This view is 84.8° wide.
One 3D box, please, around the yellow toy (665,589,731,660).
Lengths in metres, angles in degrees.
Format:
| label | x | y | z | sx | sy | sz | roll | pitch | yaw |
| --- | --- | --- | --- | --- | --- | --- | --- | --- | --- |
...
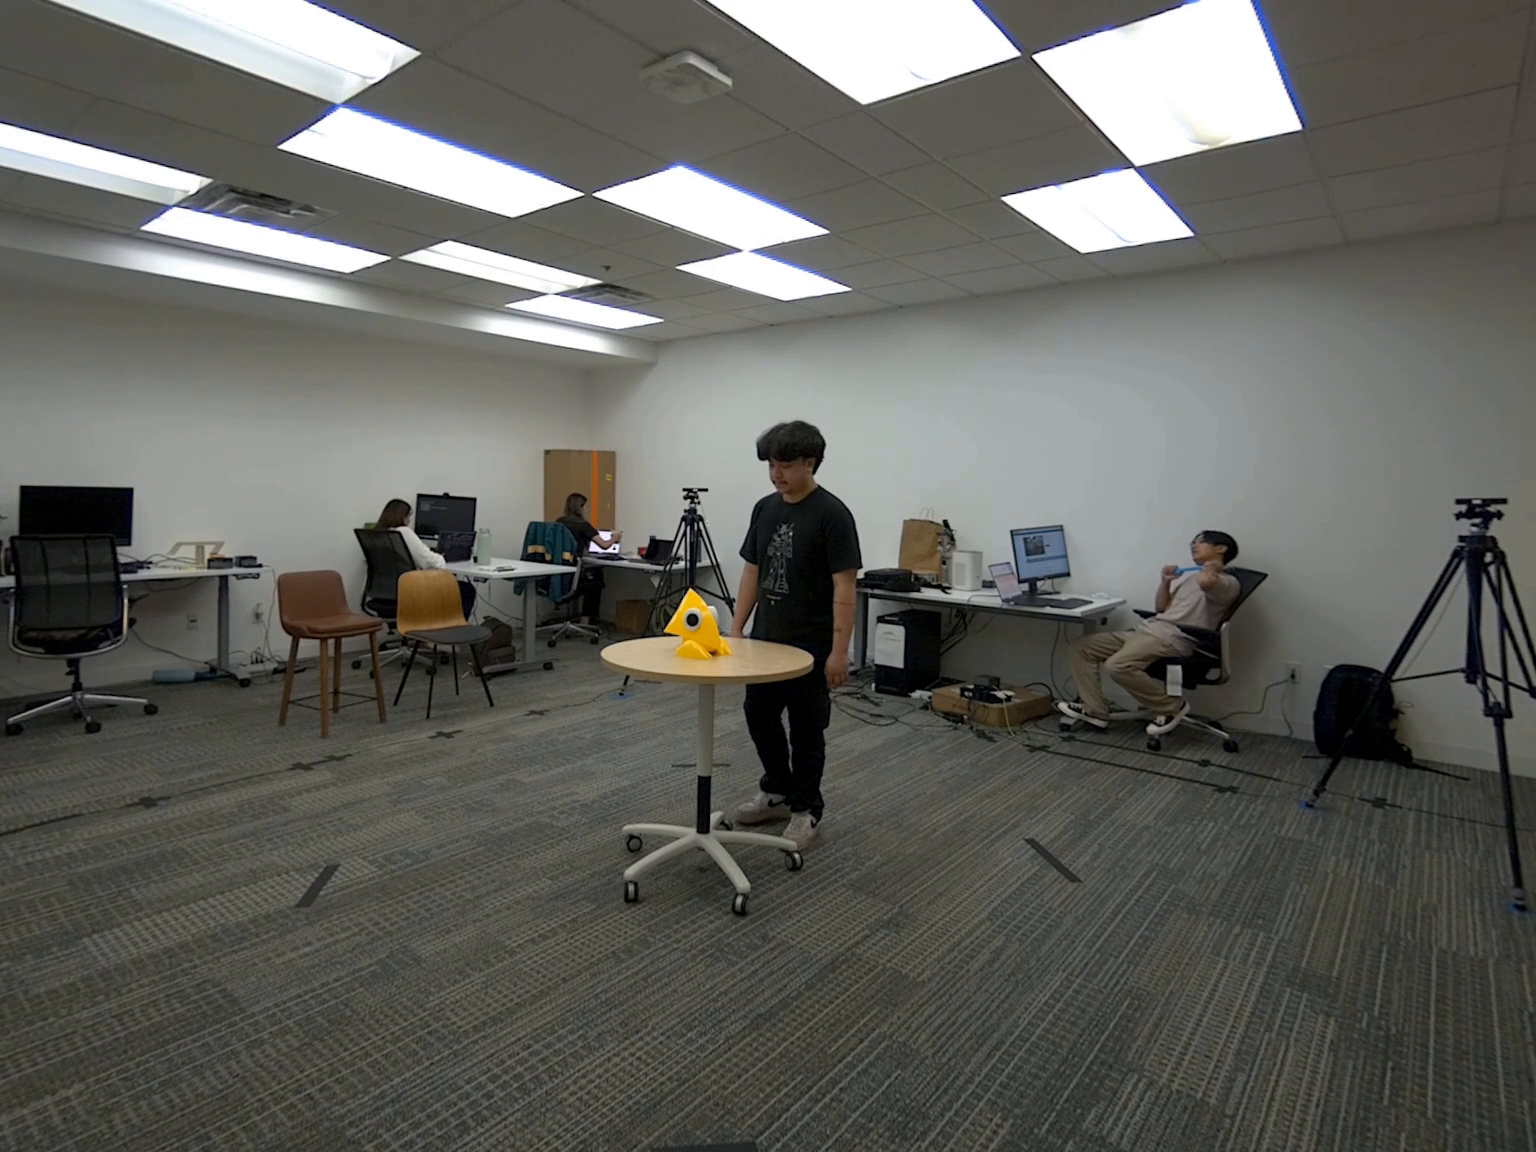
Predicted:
| label | x | y | z | sx | sy | sz | roll | pitch | yaw |
| --- | --- | --- | --- | --- | --- | --- | --- | --- | --- |
| yellow toy | -0.245 | 0.166 | 3.074 | 0.199 | 0.230 | 0.198 | 5 | 4 | 38 |
